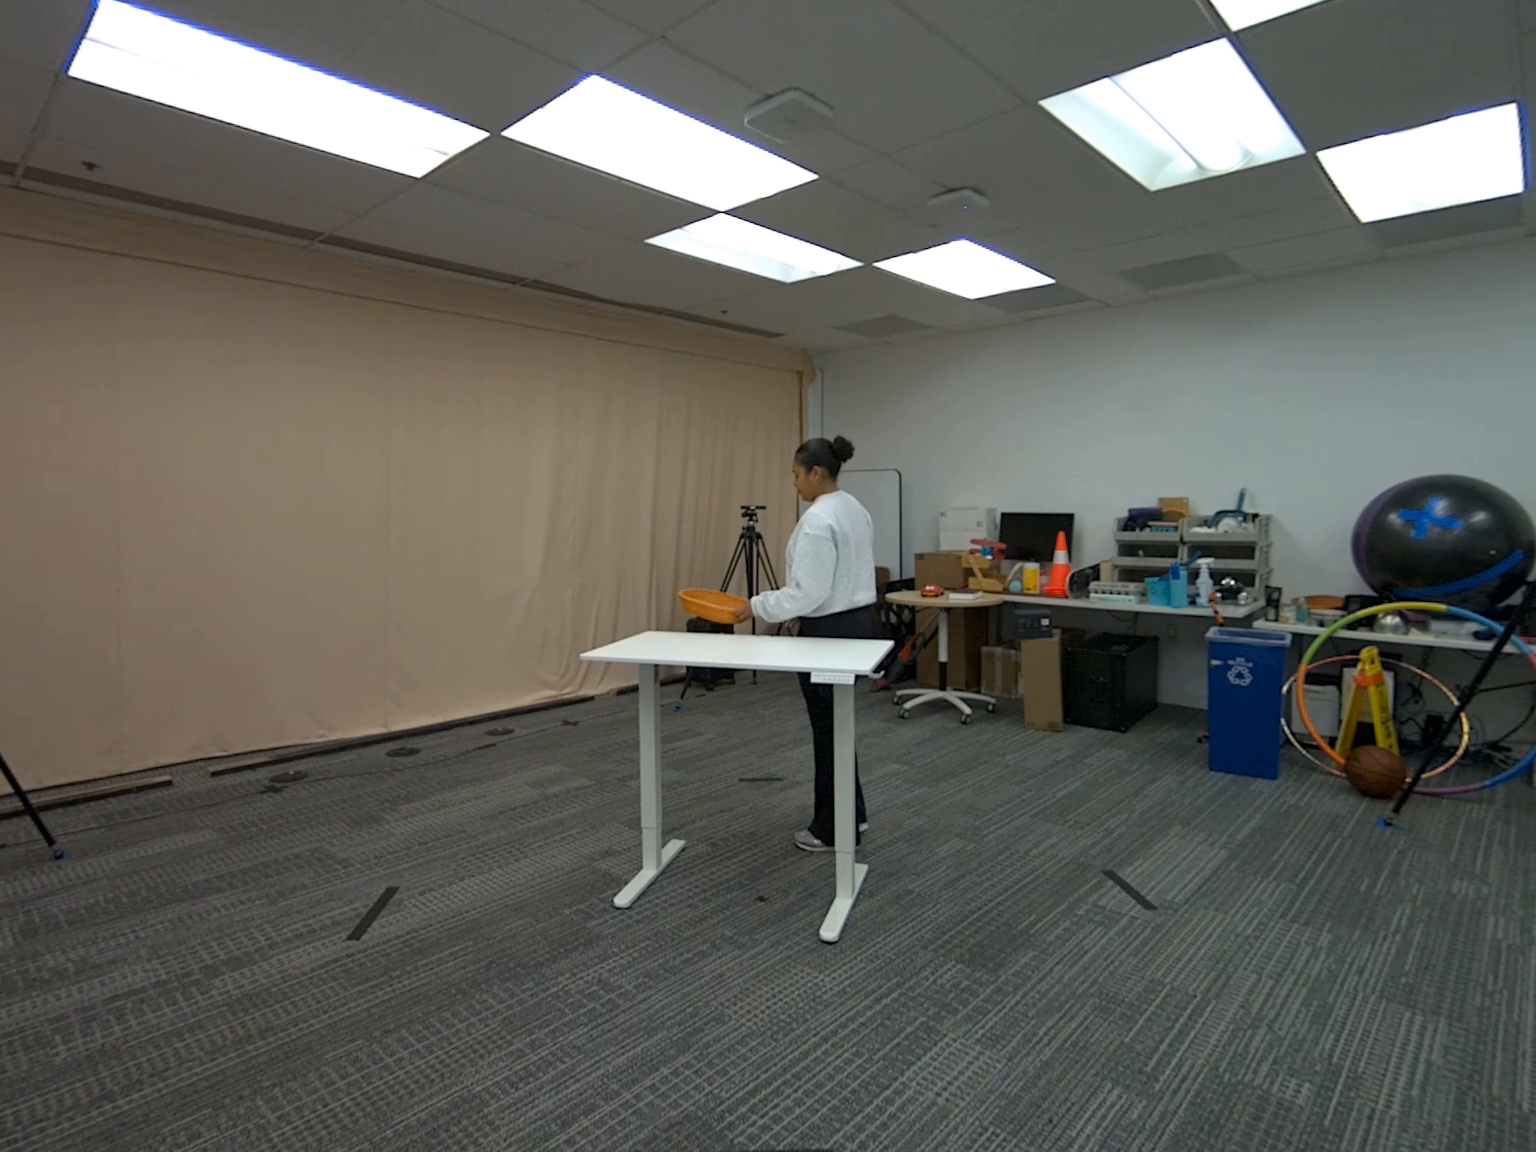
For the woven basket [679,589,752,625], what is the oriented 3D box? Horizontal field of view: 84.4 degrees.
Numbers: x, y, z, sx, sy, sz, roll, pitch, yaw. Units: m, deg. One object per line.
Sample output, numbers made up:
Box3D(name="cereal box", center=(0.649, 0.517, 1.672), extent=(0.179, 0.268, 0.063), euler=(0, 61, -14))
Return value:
Box3D(name="woven basket", center=(-0.193, 0.141, 3.521), extent=(0.245, 0.073, 0.363), euler=(-5, 15, -45))
